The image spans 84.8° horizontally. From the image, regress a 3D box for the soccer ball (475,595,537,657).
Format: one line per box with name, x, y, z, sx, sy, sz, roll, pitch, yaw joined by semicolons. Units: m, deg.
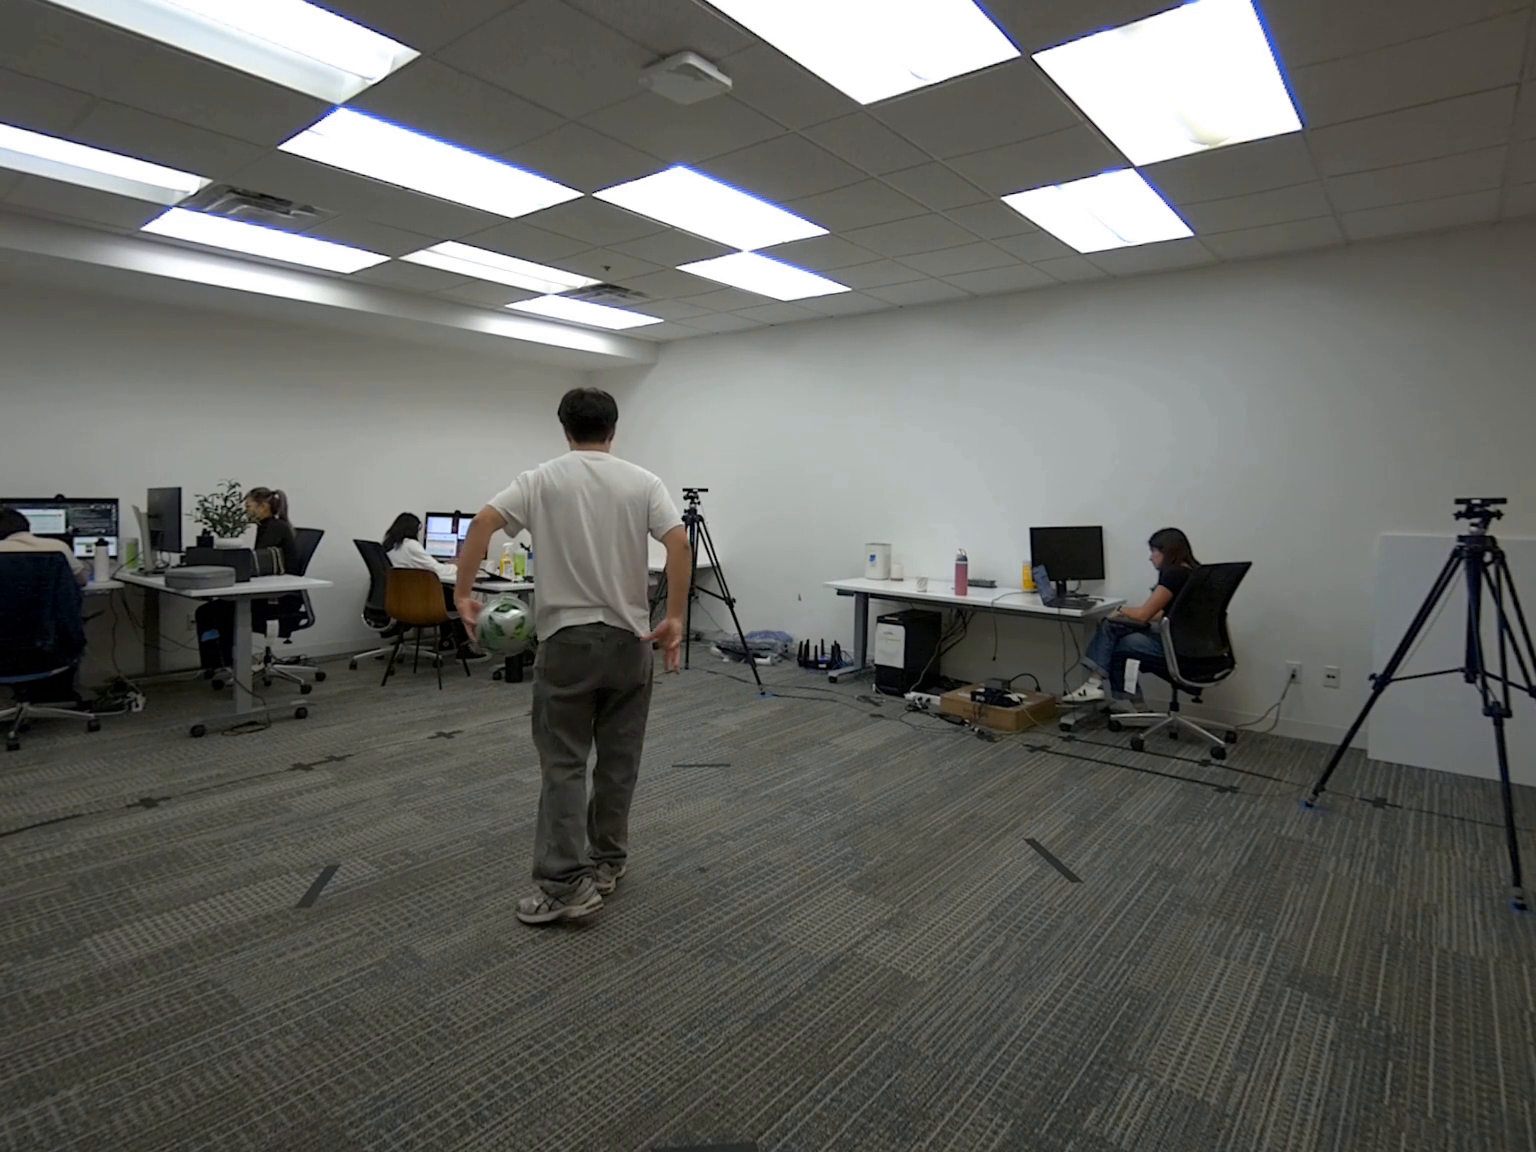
soccer ball;-0.796;0.150;2.670;0.187;0.187;0.188;1;4;-2
